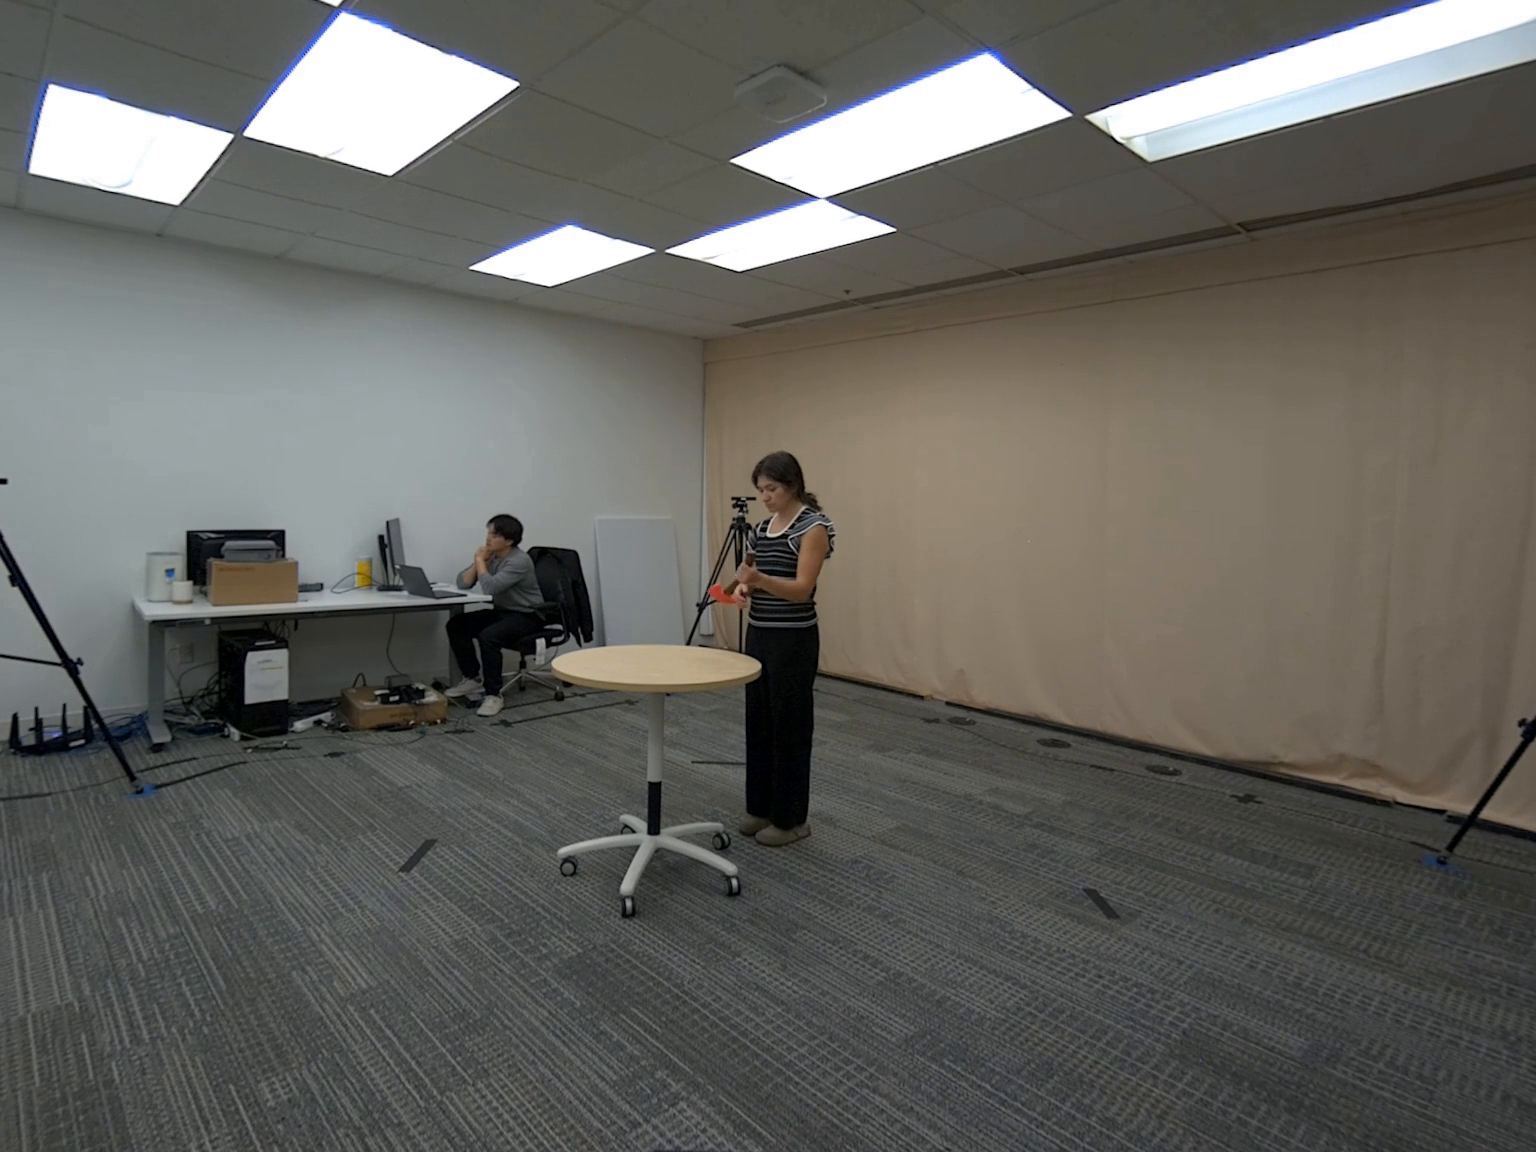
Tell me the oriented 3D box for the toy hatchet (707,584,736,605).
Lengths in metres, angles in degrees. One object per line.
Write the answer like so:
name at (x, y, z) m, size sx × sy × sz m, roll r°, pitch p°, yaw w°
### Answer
toy hatchet at (-0.139, 0.004, 3.165) m, size 0.130 × 0.266 × 0.030 m, roll 15°, pitch 44°, yaw -5°
